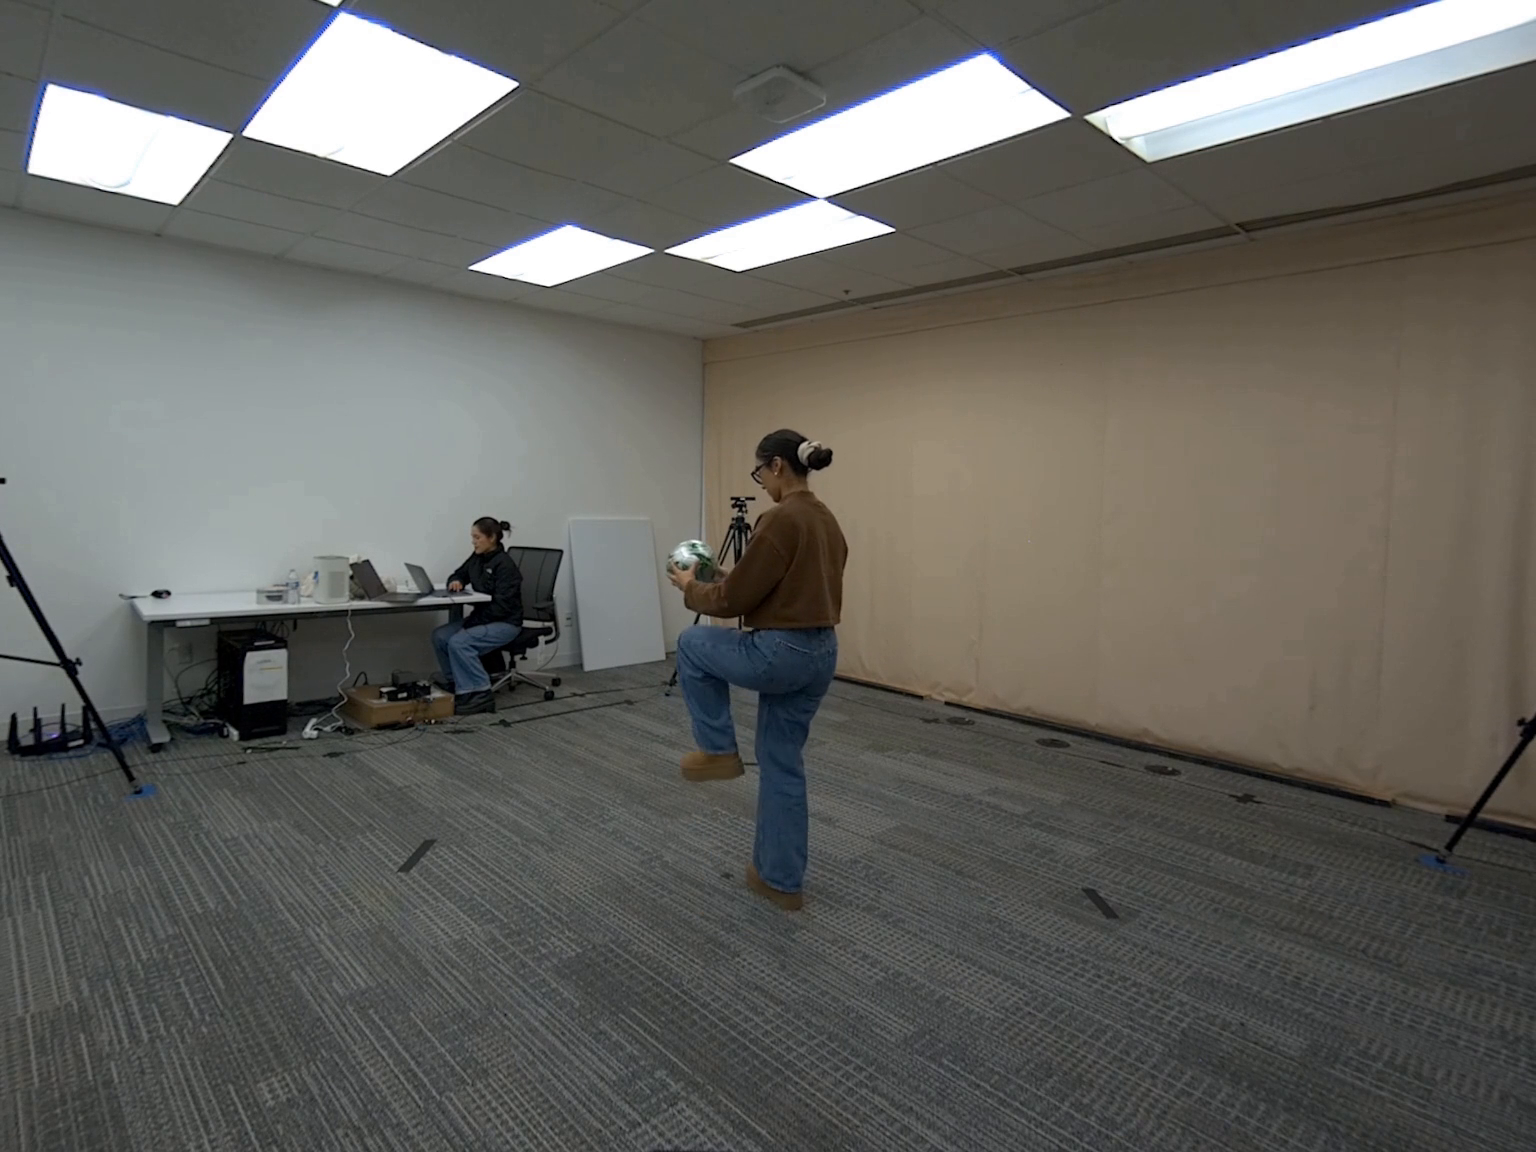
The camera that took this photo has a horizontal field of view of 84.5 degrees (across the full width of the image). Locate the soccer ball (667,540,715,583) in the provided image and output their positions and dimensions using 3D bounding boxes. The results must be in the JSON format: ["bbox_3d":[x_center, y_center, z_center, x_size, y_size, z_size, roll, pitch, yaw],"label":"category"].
[{"bbox_3d":[-0.280,-0.045,3.067,0.187,0.187,0.188,1,4,-1],"label":"soccer ball"}]
